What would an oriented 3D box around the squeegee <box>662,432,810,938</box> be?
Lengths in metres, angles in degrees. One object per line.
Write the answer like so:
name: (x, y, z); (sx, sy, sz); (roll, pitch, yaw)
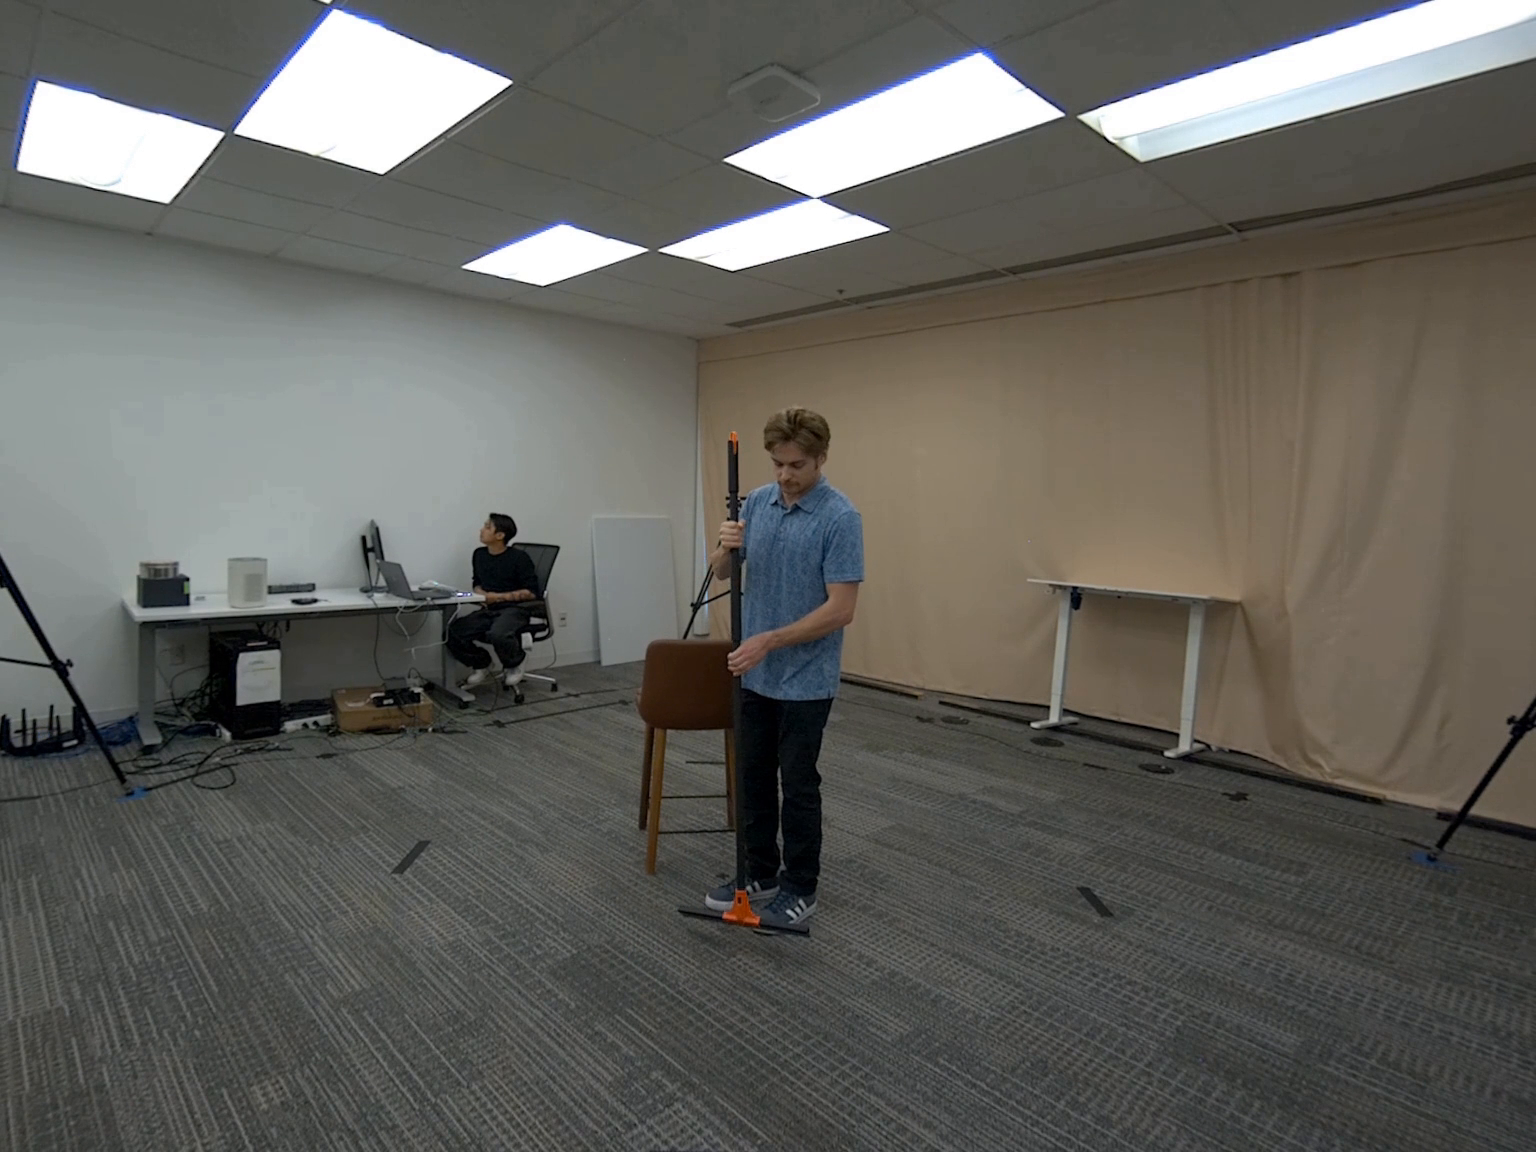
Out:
squeegee: (-0.104, 0.346, 2.600); (0.445, 1.537, 0.052); (-2, 0, 26)
